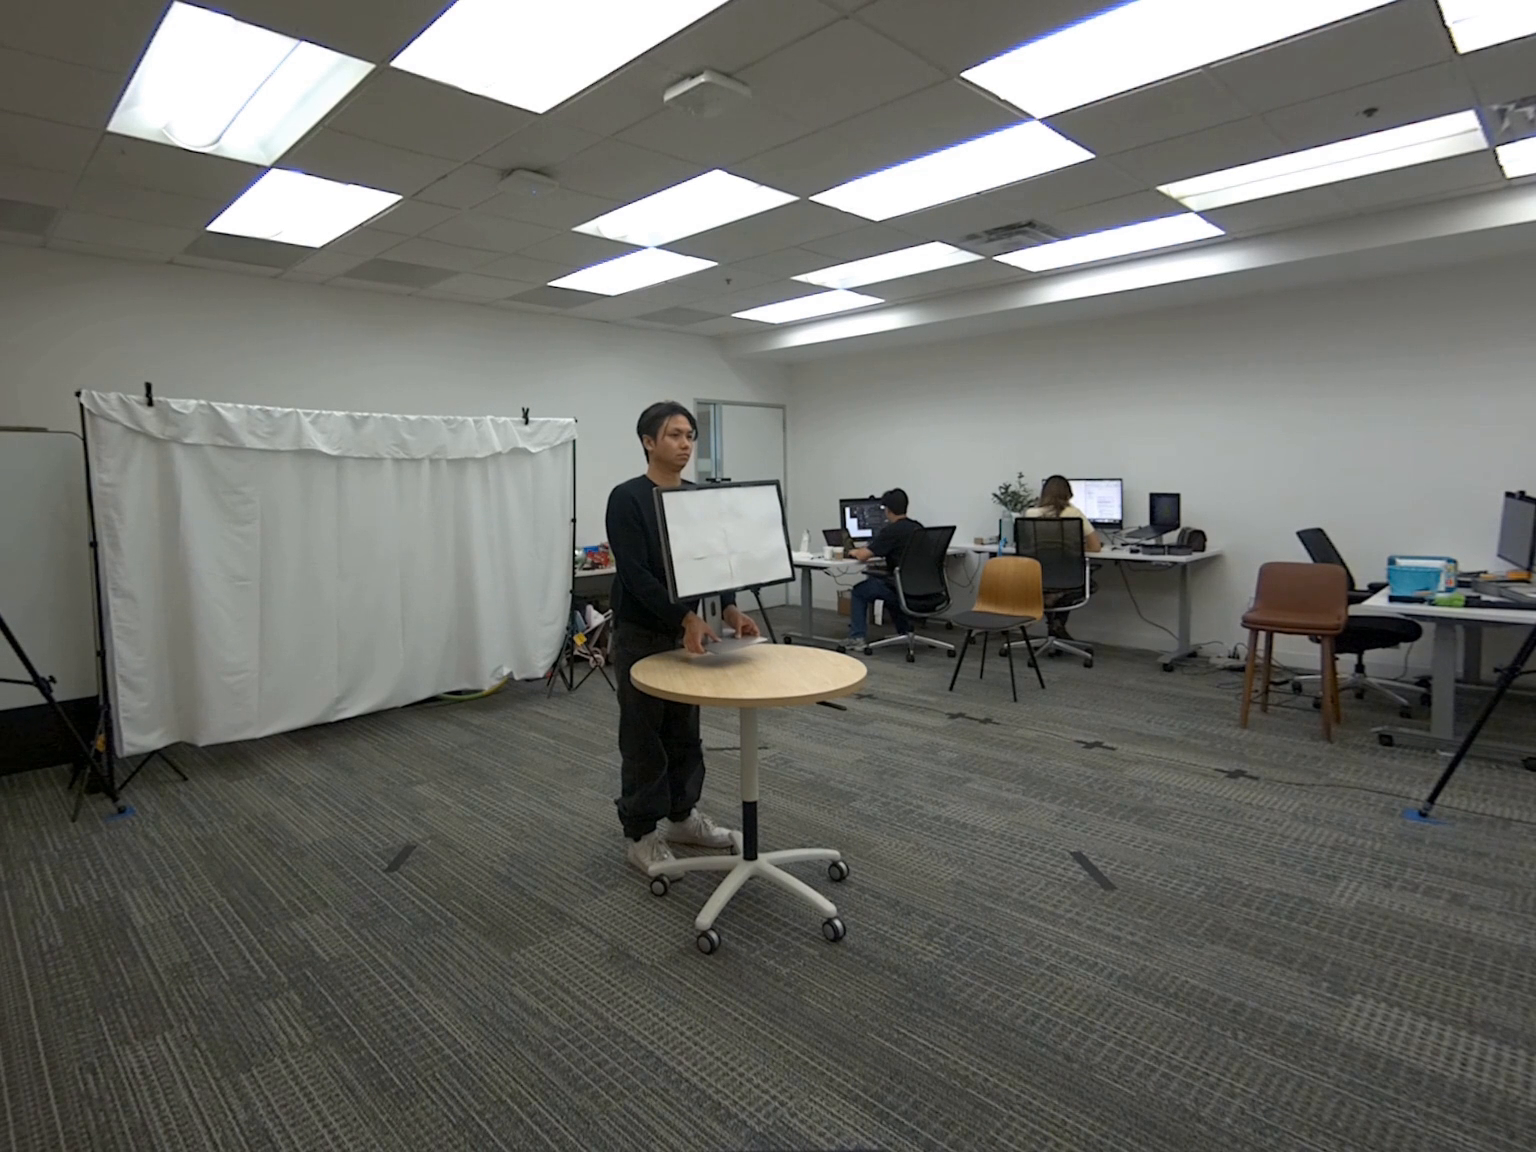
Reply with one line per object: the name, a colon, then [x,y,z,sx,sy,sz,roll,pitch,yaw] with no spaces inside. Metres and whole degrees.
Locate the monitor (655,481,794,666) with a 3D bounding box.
monitor: [-0.159,-0.041,2.862,0.193,0.519,0.526,7,11,42]
